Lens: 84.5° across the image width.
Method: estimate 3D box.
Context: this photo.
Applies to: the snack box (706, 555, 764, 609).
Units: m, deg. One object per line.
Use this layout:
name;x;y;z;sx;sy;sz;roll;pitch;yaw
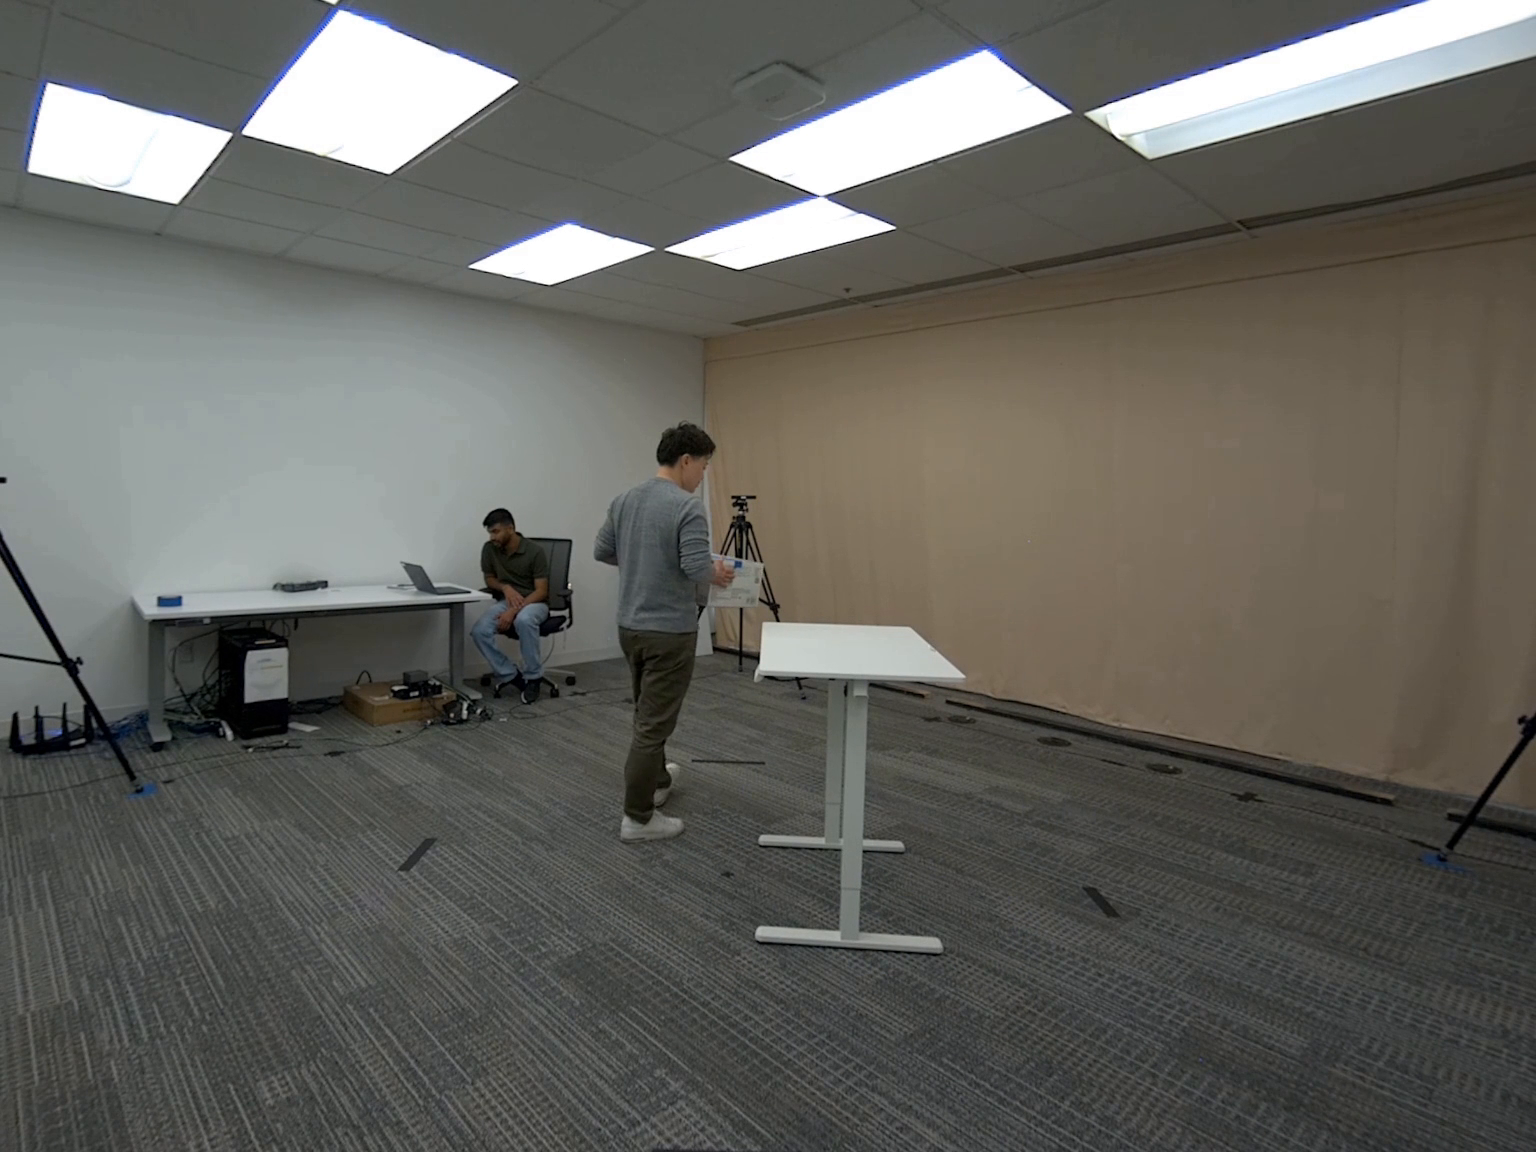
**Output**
snack box;-0.290;0.006;3.747;0.416;0.205;0.332;12;5;40
